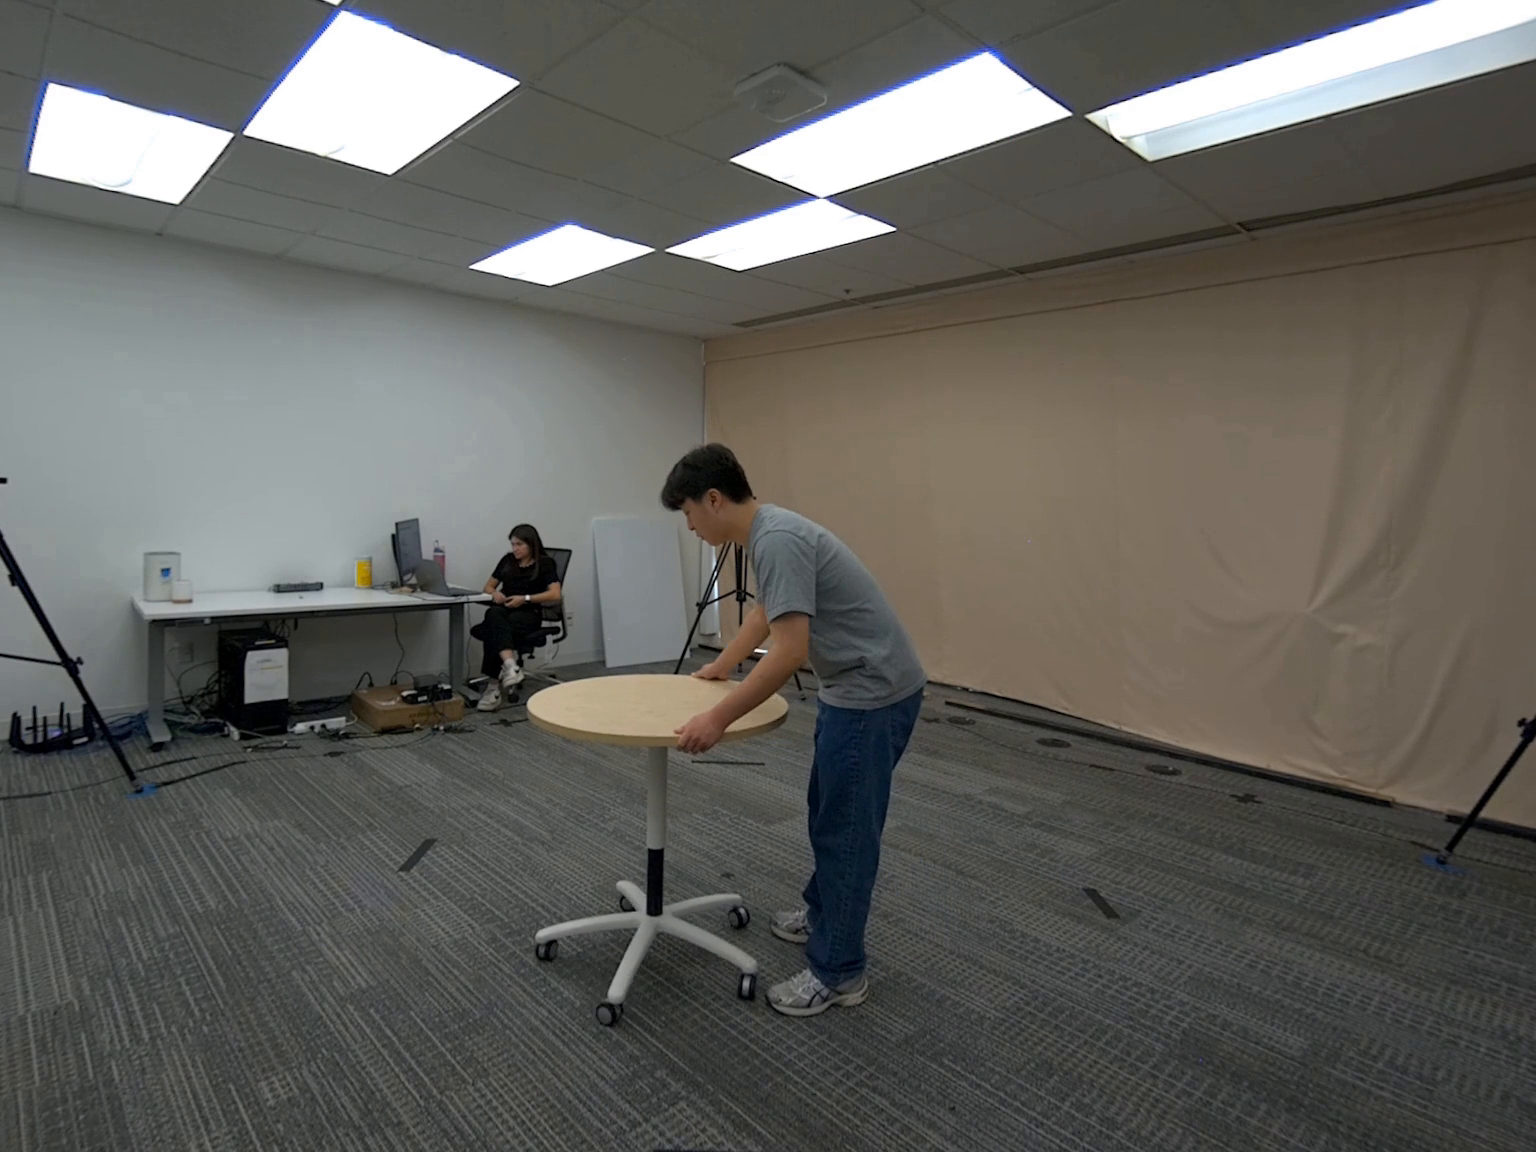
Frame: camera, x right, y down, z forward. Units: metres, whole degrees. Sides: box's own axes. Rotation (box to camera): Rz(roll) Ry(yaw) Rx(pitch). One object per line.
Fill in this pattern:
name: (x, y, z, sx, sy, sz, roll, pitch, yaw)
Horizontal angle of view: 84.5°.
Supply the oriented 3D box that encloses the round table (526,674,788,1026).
round table: (-0.332, 0.764, 2.518, 0.763, 0.792, 0.766, 1, 4, -1)
